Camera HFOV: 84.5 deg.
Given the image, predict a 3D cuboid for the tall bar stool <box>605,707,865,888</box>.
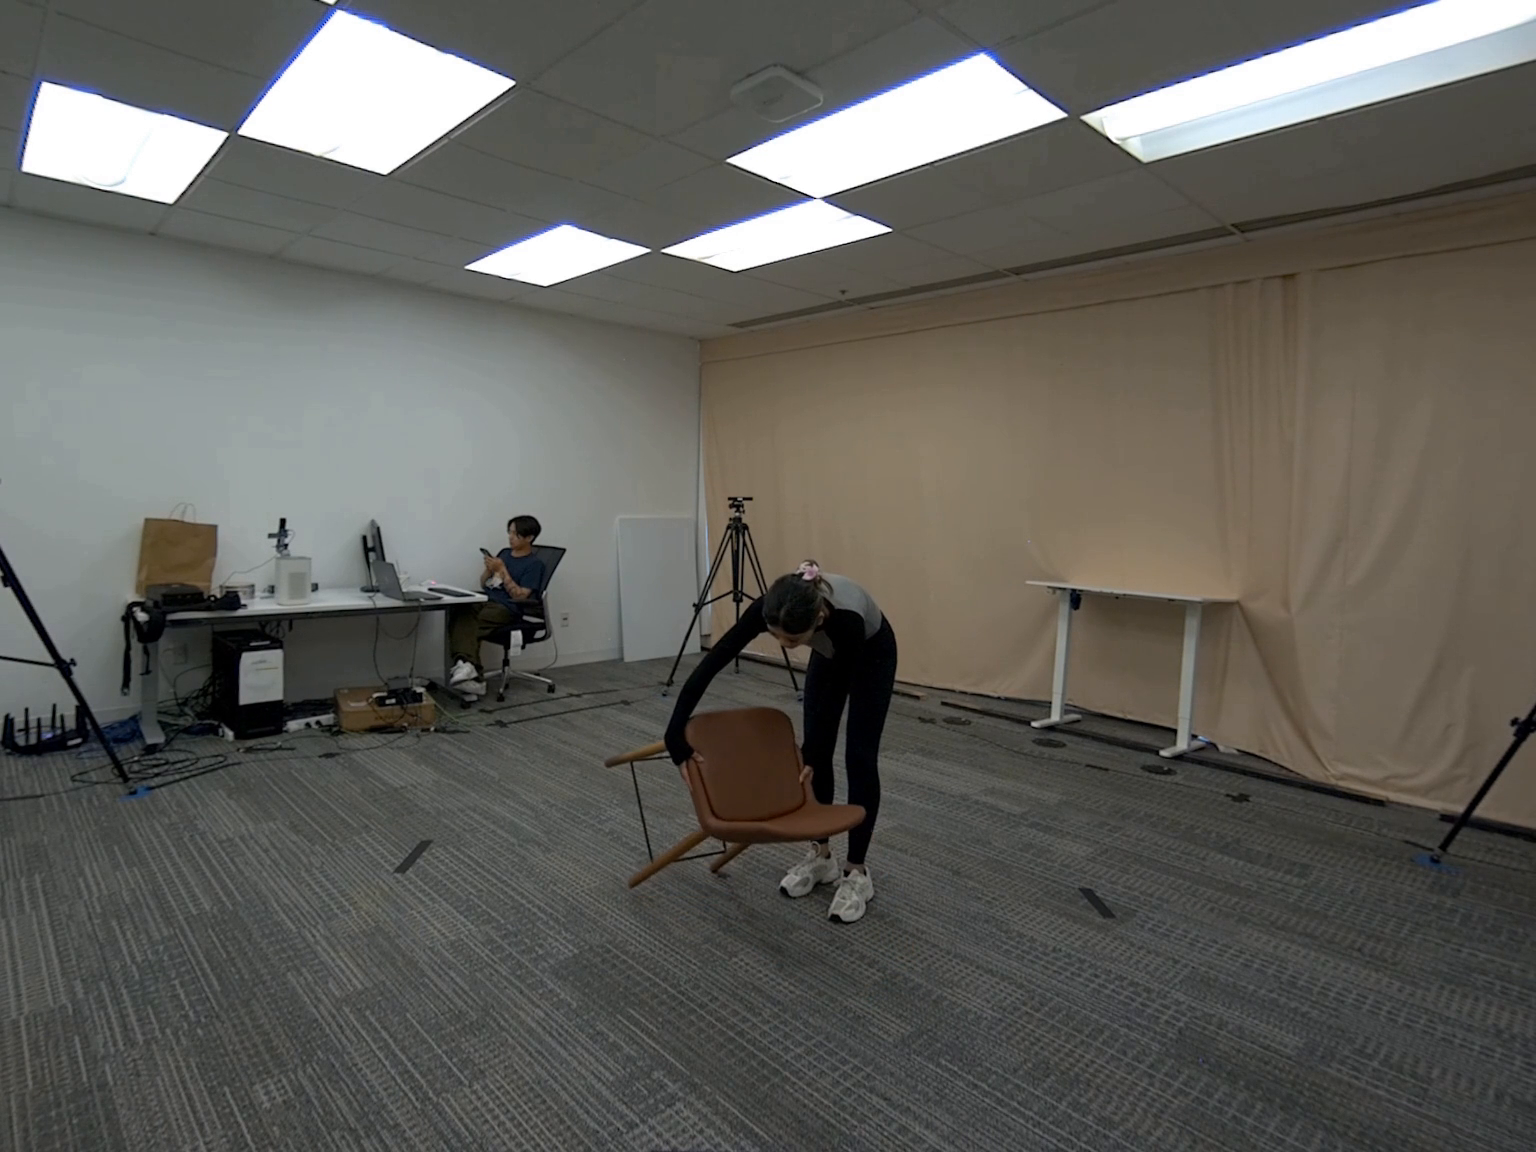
[{"bbox_3d":[-0.147,0.716,2.819,0.445,0.476,0.895,4,-26,-37],"label":"tall bar stool"}]
